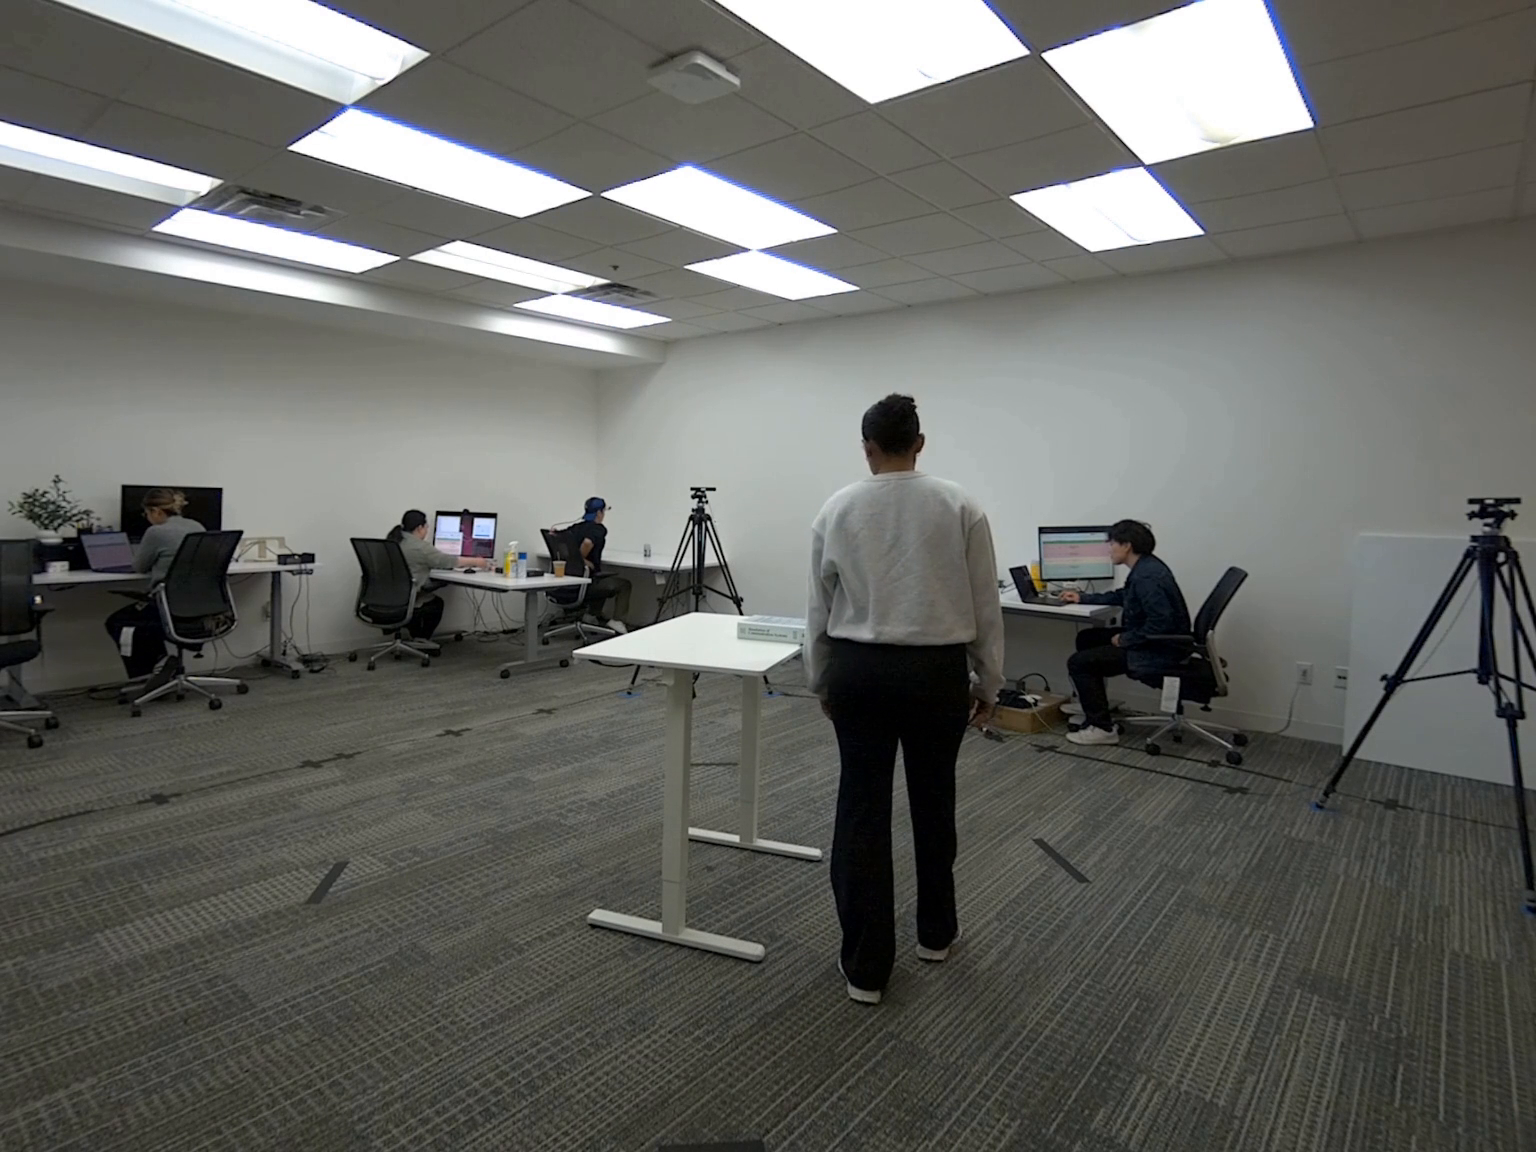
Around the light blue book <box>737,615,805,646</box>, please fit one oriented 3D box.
[{"bbox_3d":[0.039,0.182,2.918,0.267,0.059,0.188,4,6,21],"label":"light blue book"}]
